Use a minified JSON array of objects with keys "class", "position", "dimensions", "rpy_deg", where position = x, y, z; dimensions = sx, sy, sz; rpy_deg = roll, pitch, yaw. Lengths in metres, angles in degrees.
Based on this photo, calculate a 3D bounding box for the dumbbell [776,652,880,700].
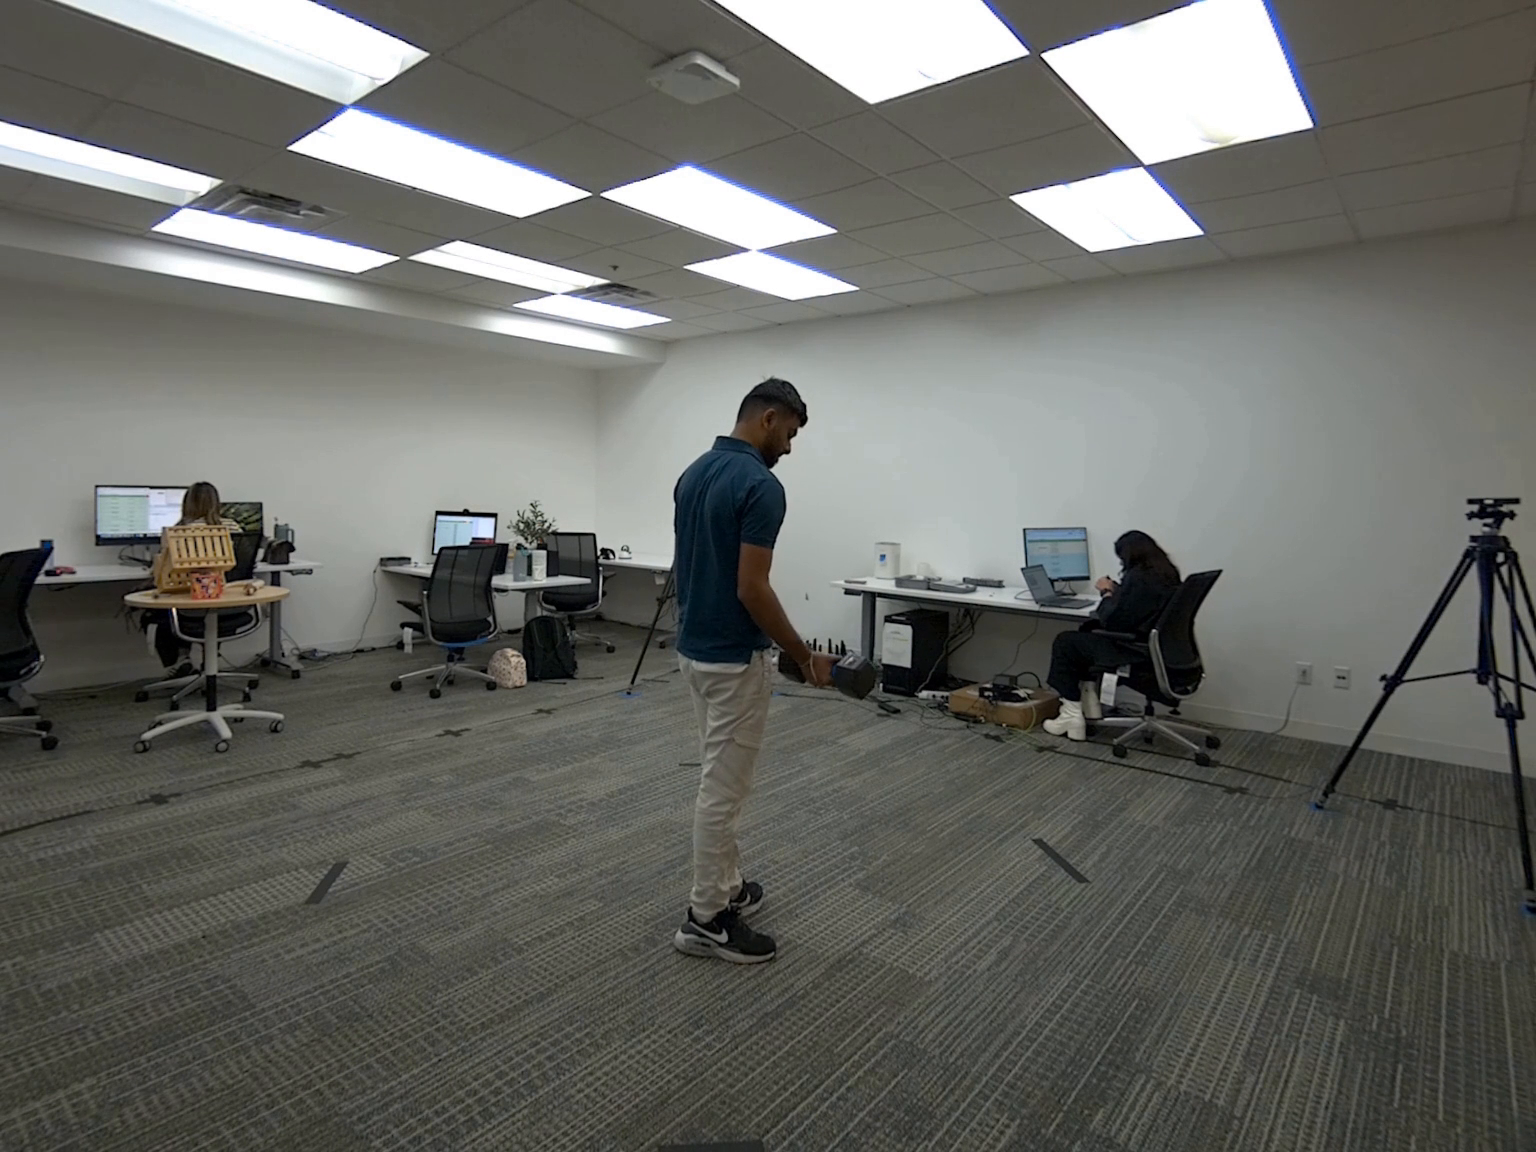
[{"class":"dumbbell","position":[0.162,0.260,2.472],"dimensions":[0.304,0.106,0.122],"rpy_deg":[9,35,43]}]
